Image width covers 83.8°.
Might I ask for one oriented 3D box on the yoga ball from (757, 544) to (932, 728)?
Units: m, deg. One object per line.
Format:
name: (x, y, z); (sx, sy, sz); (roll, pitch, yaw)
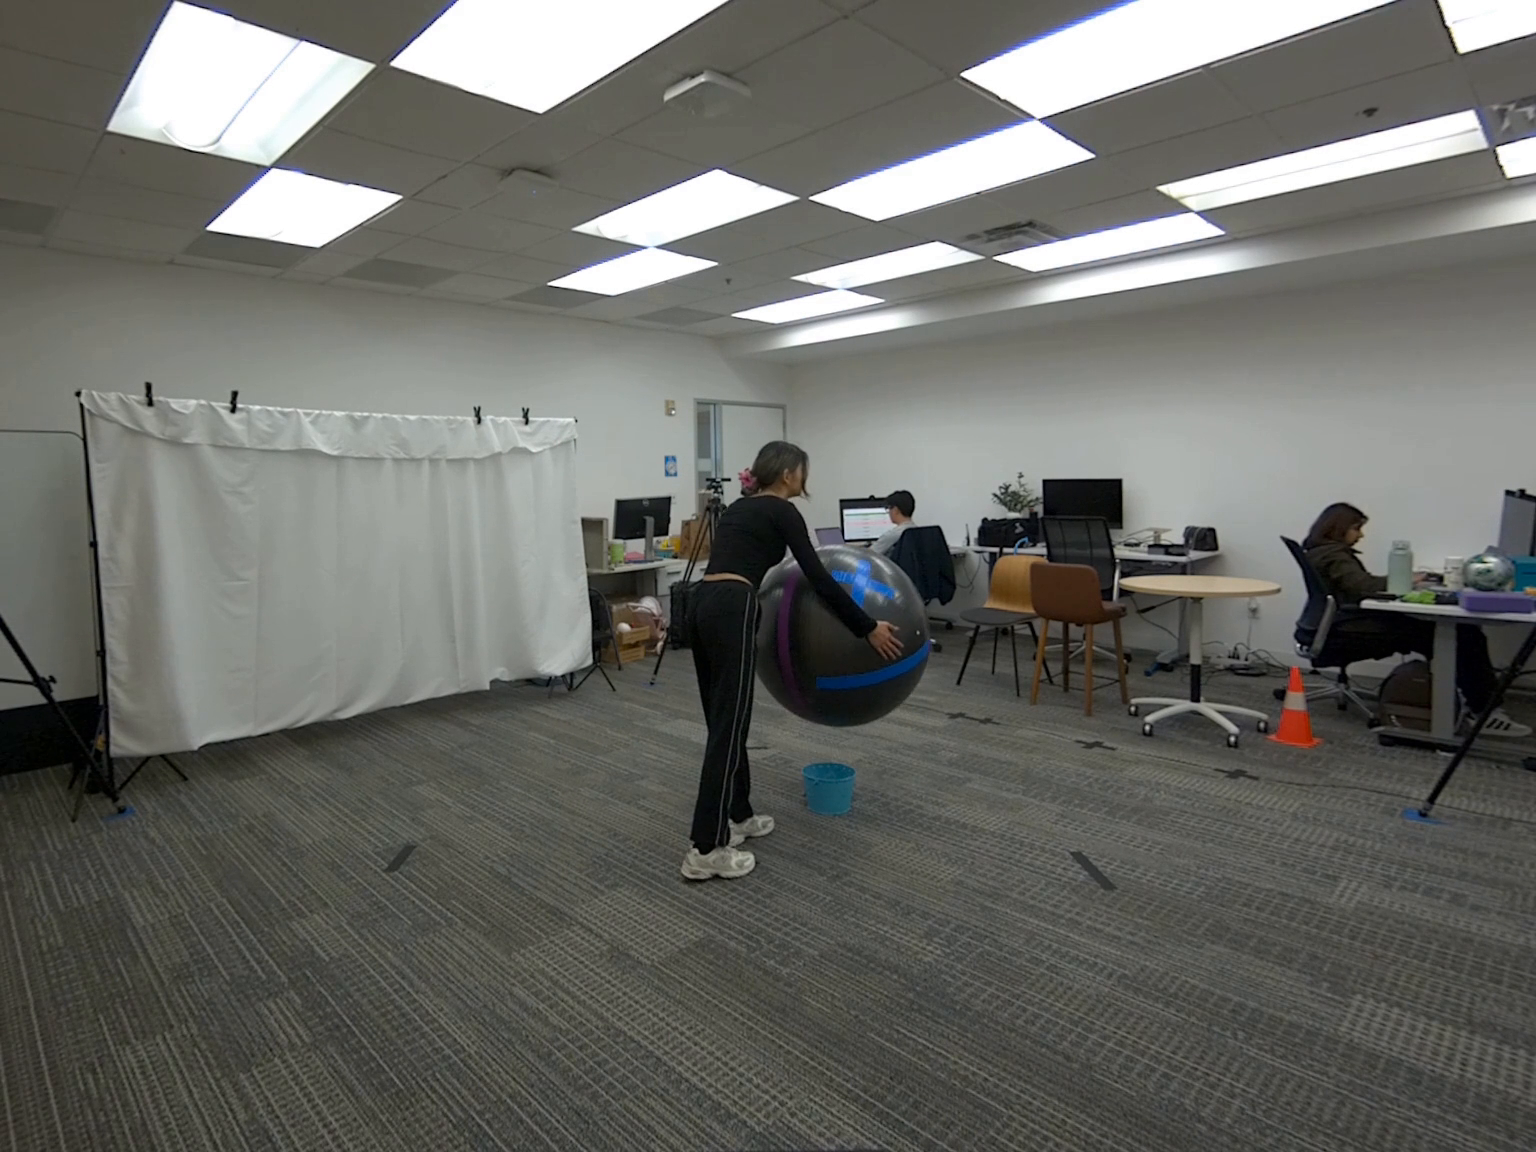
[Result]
yoga ball: (0.301, 0.248, 3.592); (0.757, 0.755, 0.762); (-1, 5, -2)
